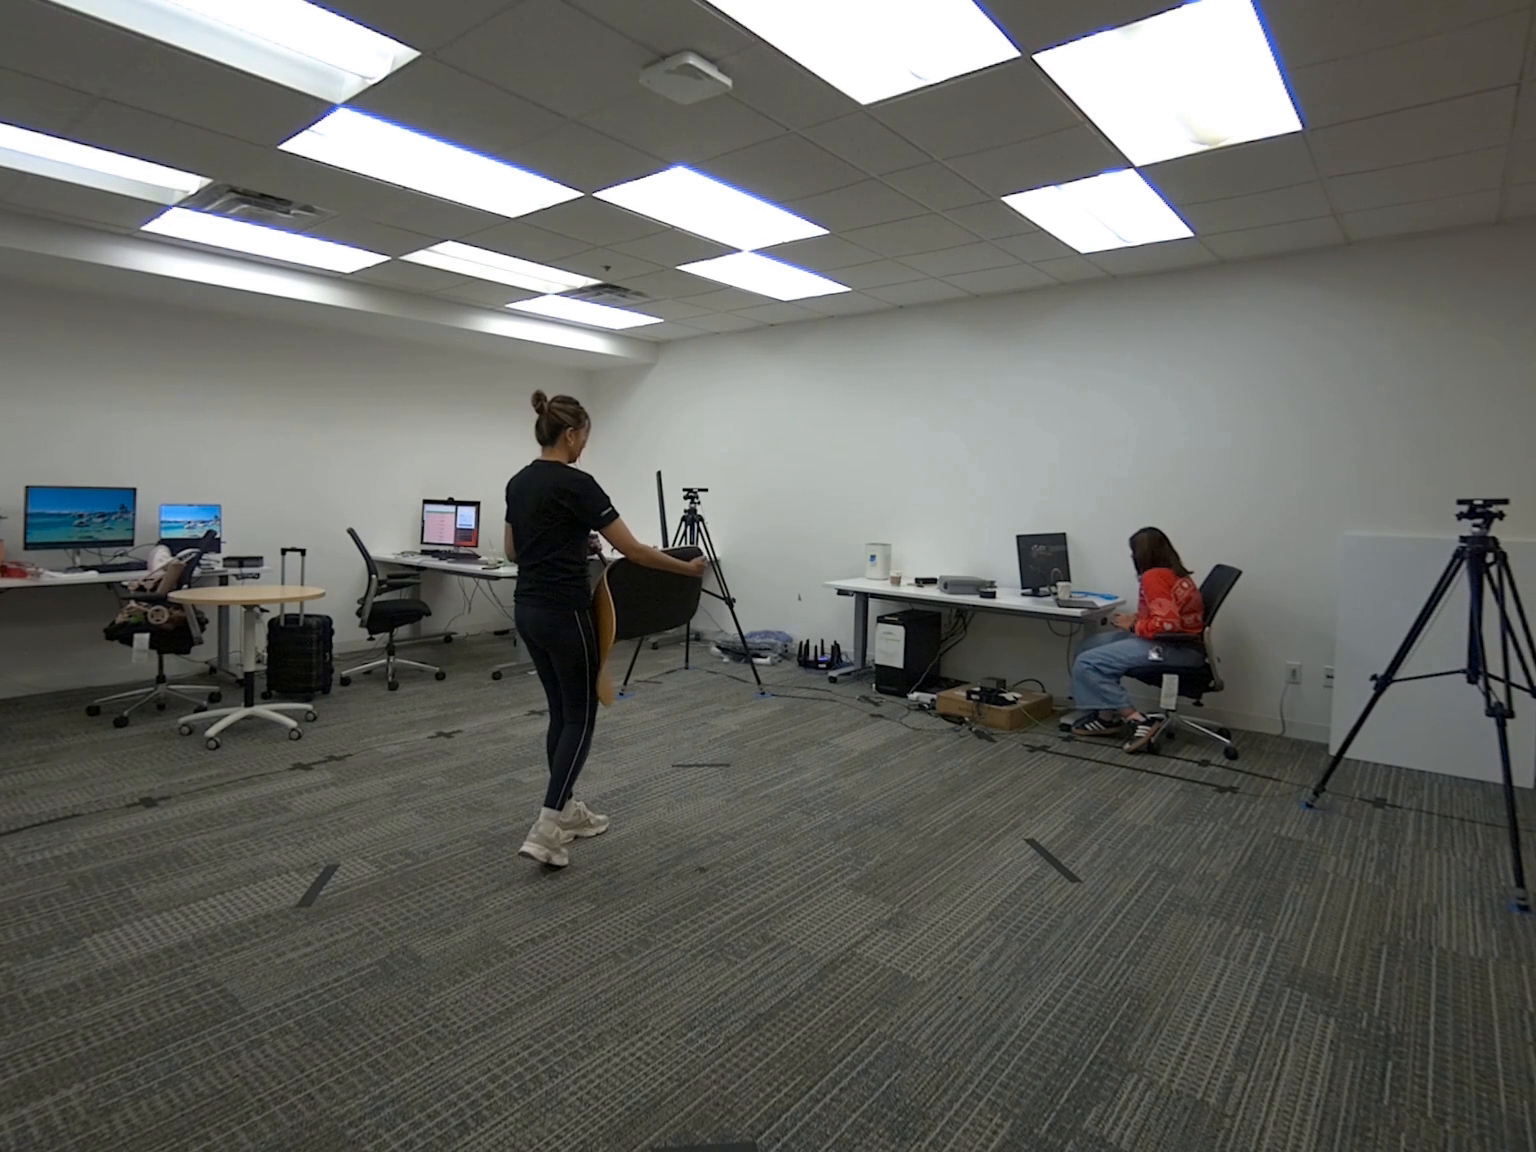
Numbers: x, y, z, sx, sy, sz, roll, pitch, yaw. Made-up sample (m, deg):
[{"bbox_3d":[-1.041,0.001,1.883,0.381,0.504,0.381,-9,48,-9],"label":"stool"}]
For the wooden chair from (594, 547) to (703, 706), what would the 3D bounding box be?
[{"bbox_3d":[-0.517,0.054,3.382,0.515,0.467,0.912,-7,45,-18],"label":"wooden chair"}]
